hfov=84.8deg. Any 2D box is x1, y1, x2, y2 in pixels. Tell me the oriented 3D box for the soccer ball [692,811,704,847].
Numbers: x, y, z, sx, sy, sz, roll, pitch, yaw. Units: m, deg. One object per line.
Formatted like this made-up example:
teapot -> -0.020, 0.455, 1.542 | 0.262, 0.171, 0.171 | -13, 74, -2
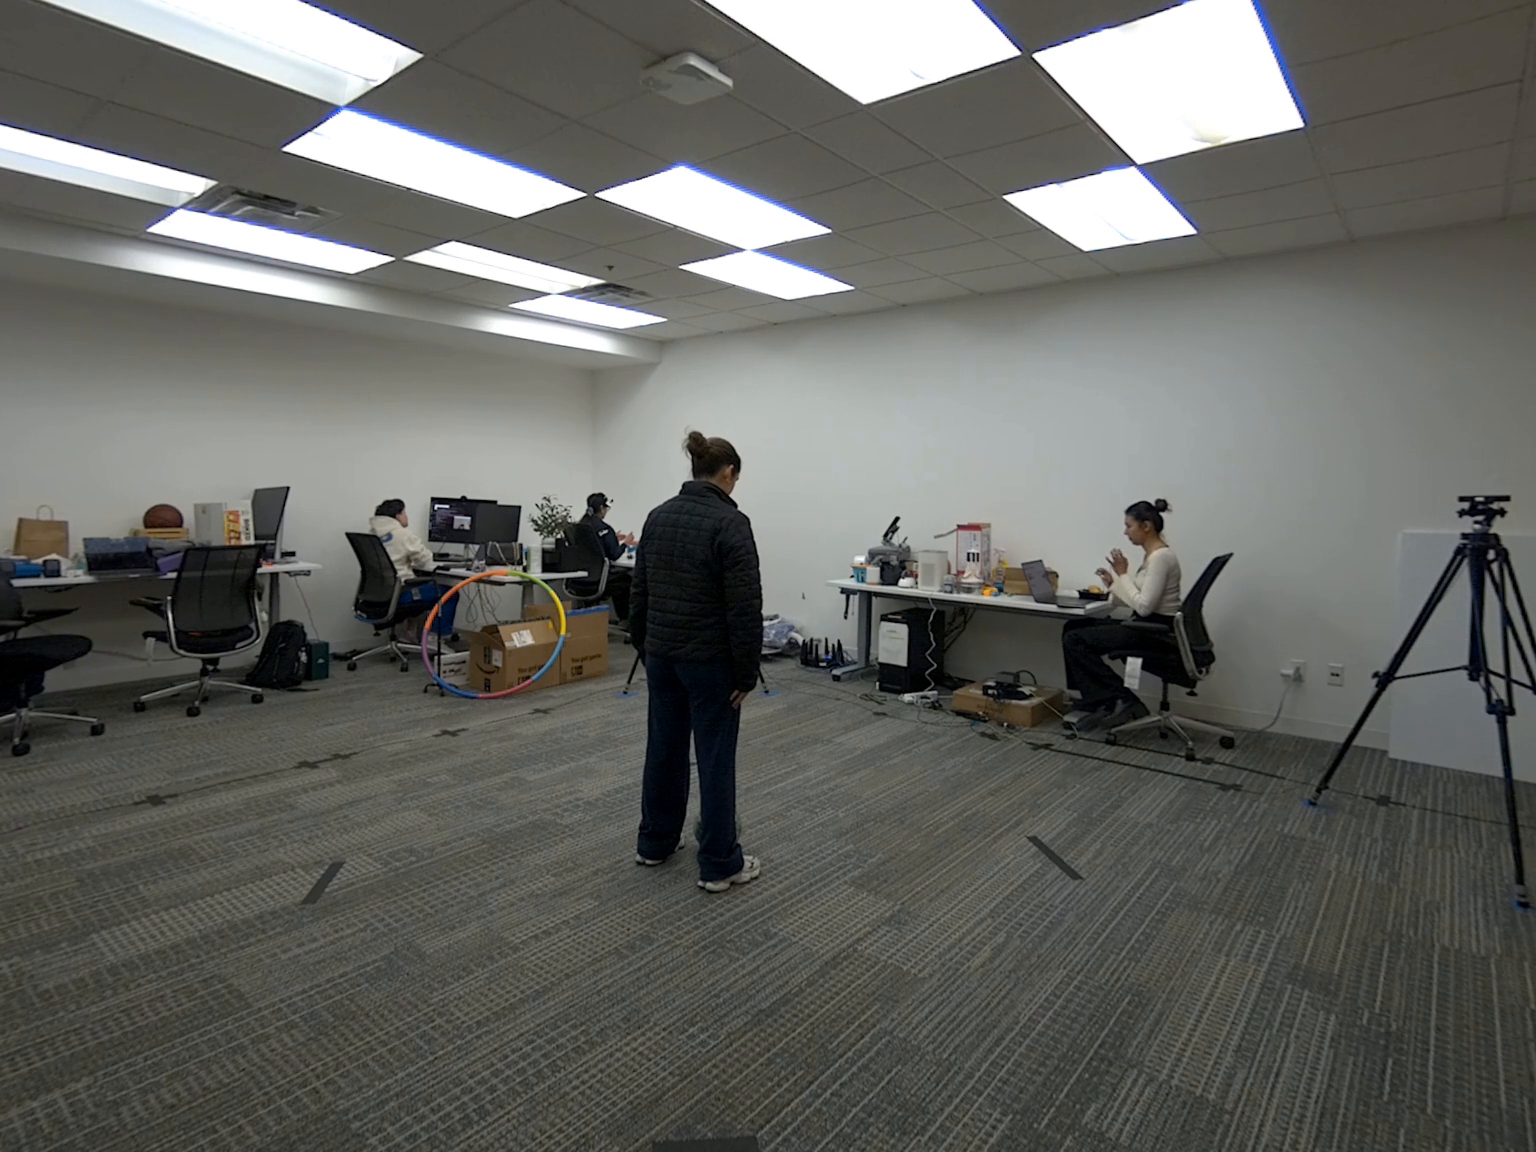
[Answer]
soccer ball -> -0.201, 0.949, 3.250 | 0.187, 0.187, 0.188 | 1, 4, -2
